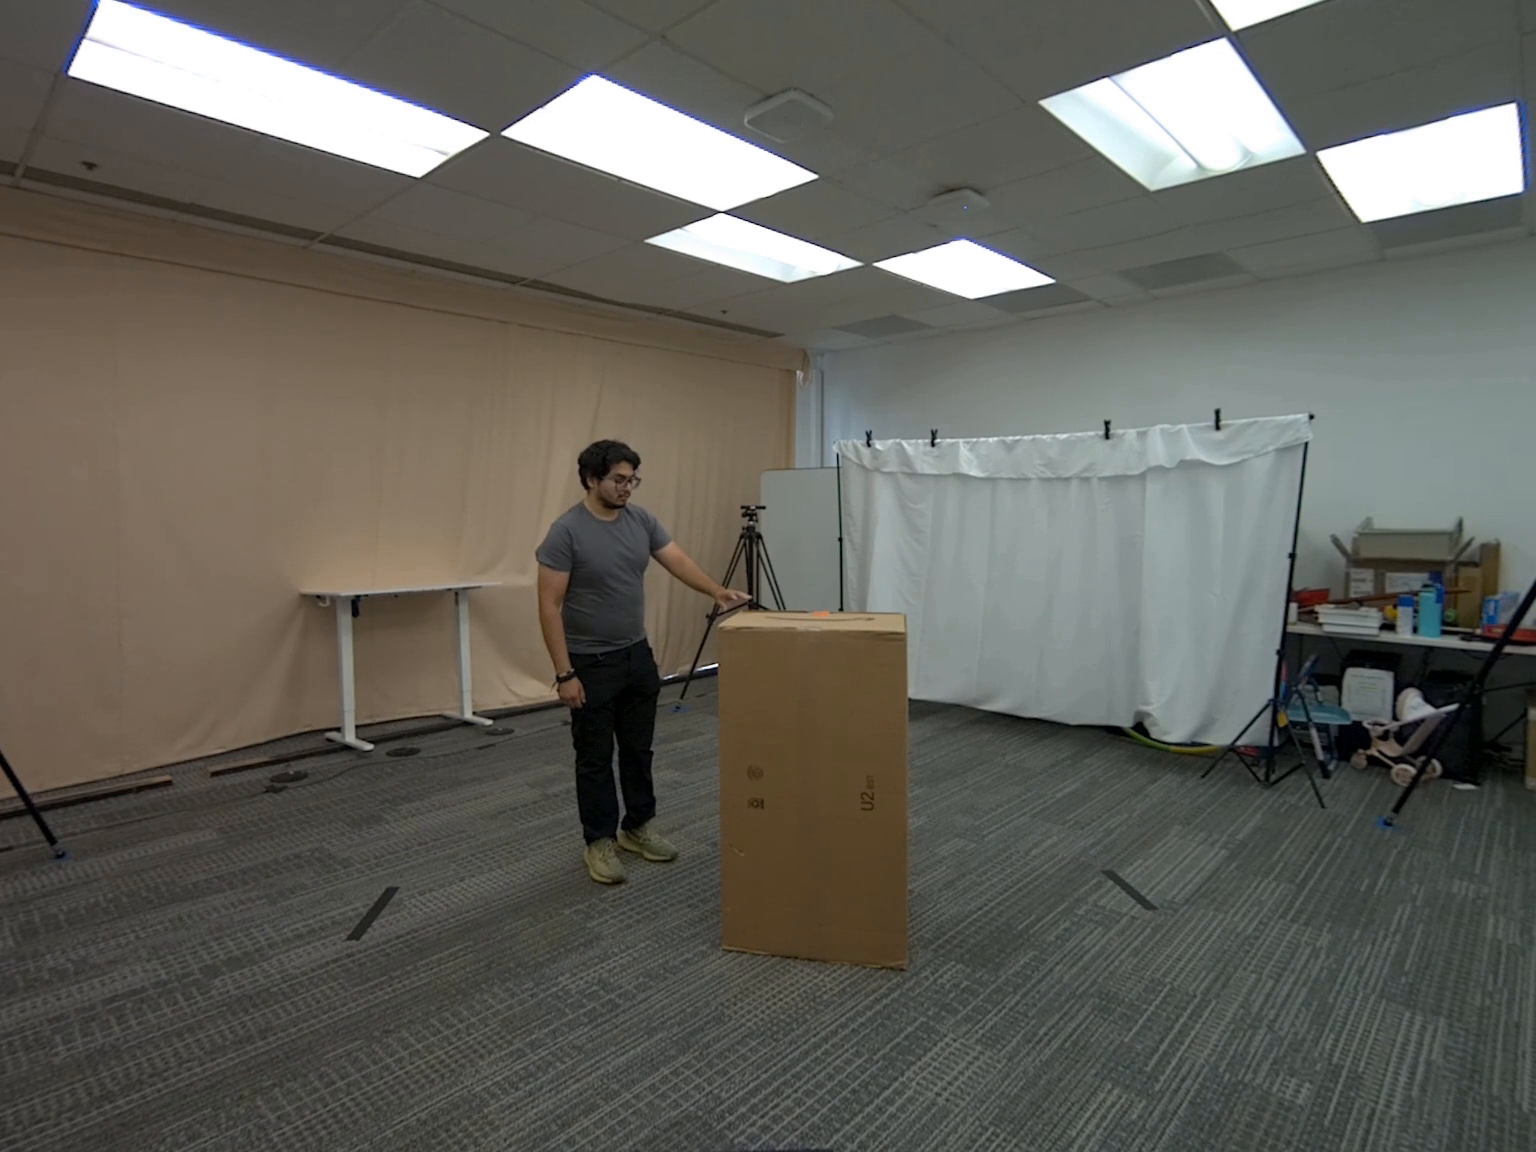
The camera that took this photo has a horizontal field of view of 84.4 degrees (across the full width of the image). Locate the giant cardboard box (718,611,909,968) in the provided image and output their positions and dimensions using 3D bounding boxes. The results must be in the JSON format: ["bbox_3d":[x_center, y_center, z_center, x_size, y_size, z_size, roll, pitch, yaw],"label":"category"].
[{"bbox_3d":[0.167,0.650,2.763,0.585,1.024,0.421,0,3,11],"label":"giant cardboard box"}]
